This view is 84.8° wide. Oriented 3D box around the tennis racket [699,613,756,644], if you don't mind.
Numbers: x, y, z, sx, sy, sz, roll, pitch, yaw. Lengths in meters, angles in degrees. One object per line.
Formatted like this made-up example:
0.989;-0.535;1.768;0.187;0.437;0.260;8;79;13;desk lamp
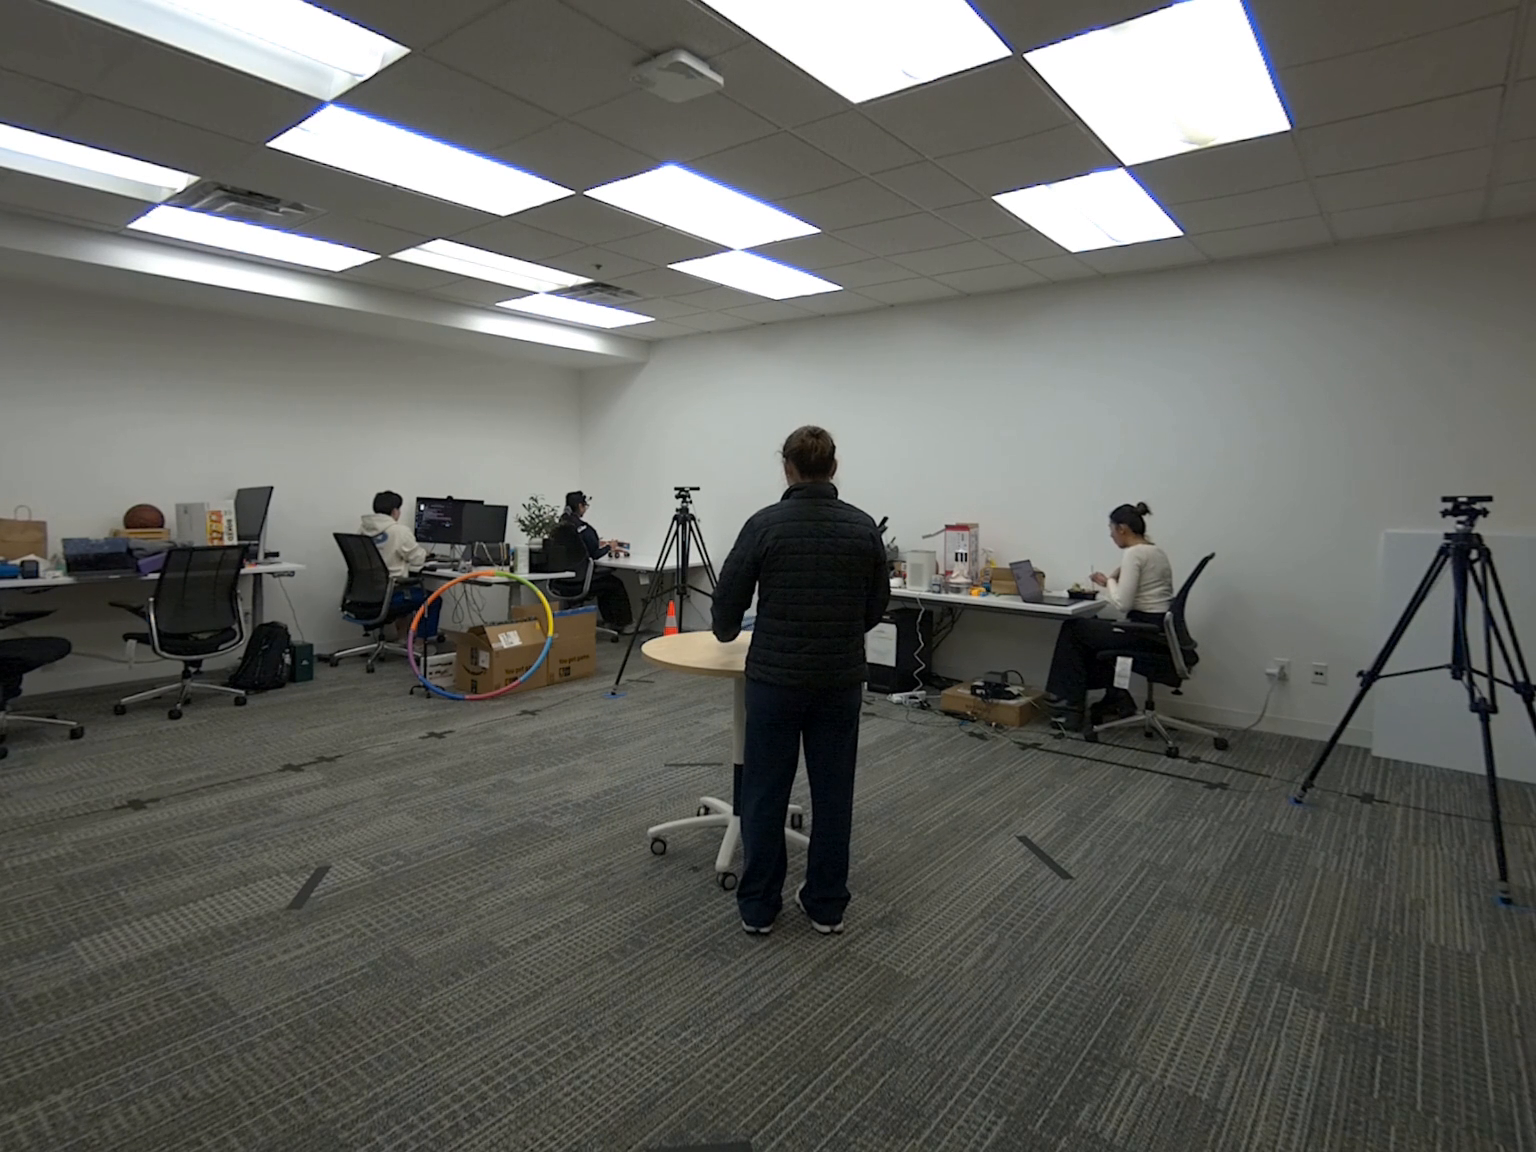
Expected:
-0.094;0.182;3.169;0.216;0.032;0.427;-11;3;14;tennis racket
